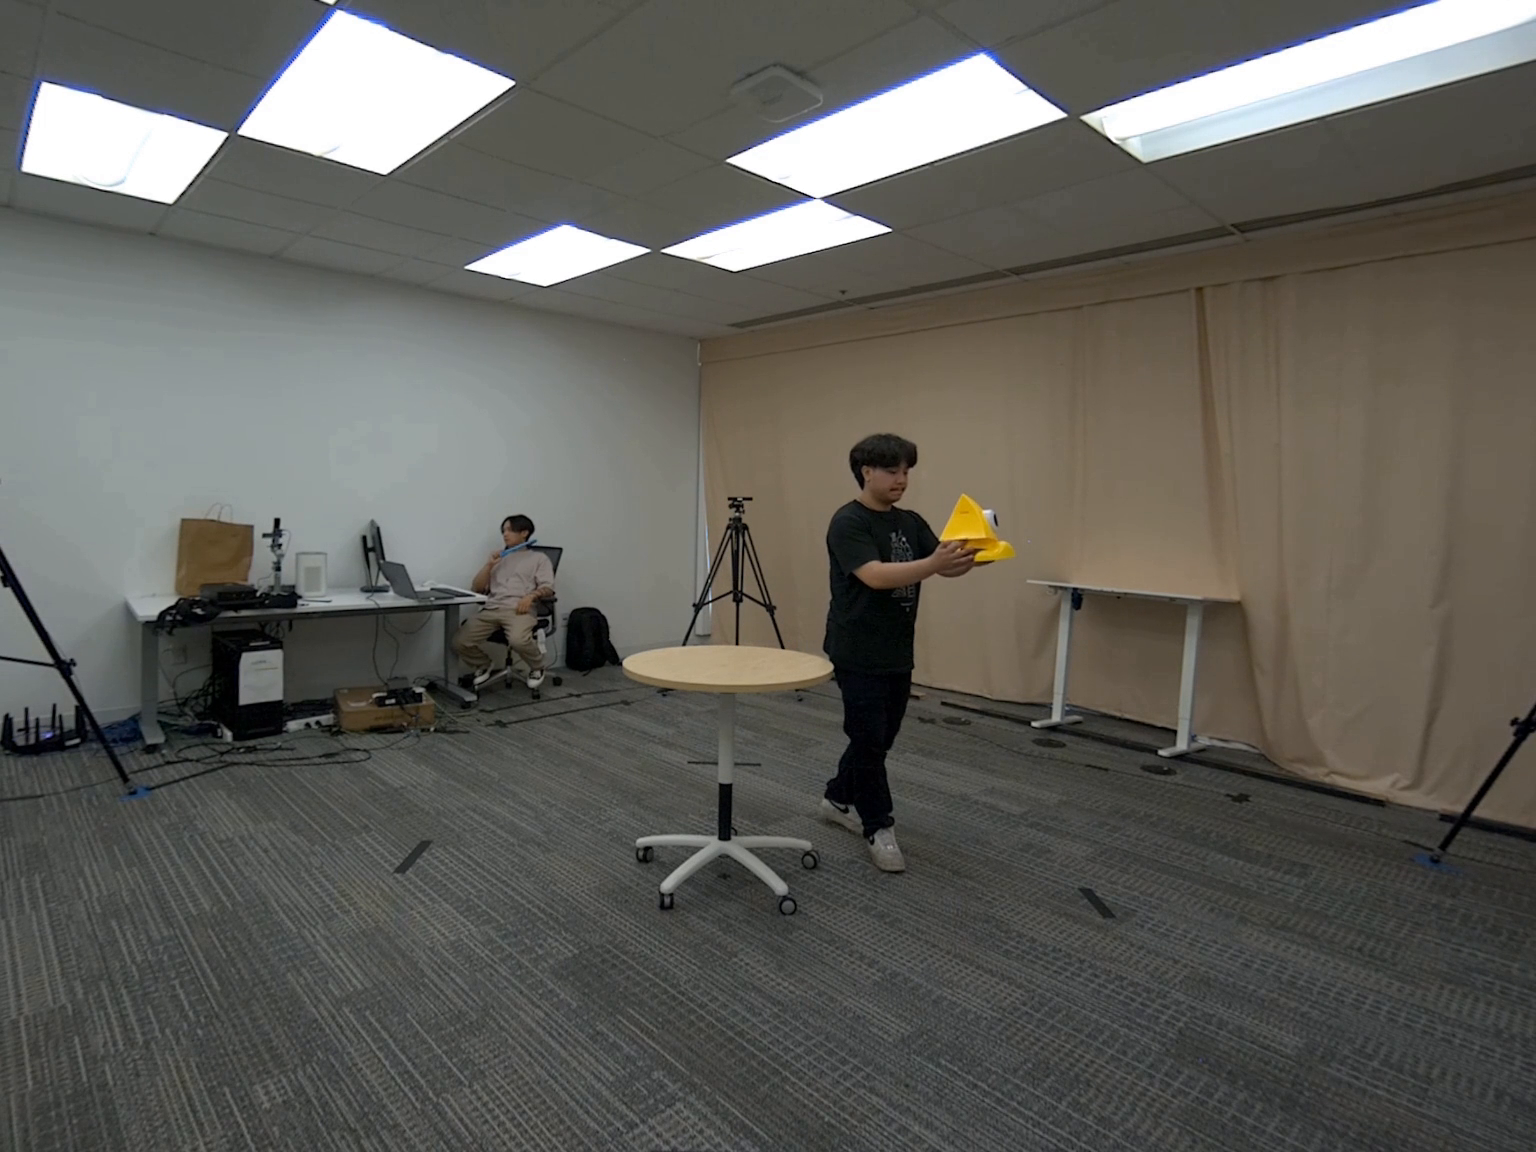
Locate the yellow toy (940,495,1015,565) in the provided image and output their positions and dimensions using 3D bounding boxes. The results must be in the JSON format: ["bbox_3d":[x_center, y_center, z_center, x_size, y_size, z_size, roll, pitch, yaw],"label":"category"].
[{"bbox_3d":[0.704,-0.170,2.887,0.189,0.230,0.209,-7,2,-34],"label":"yellow toy"}]
